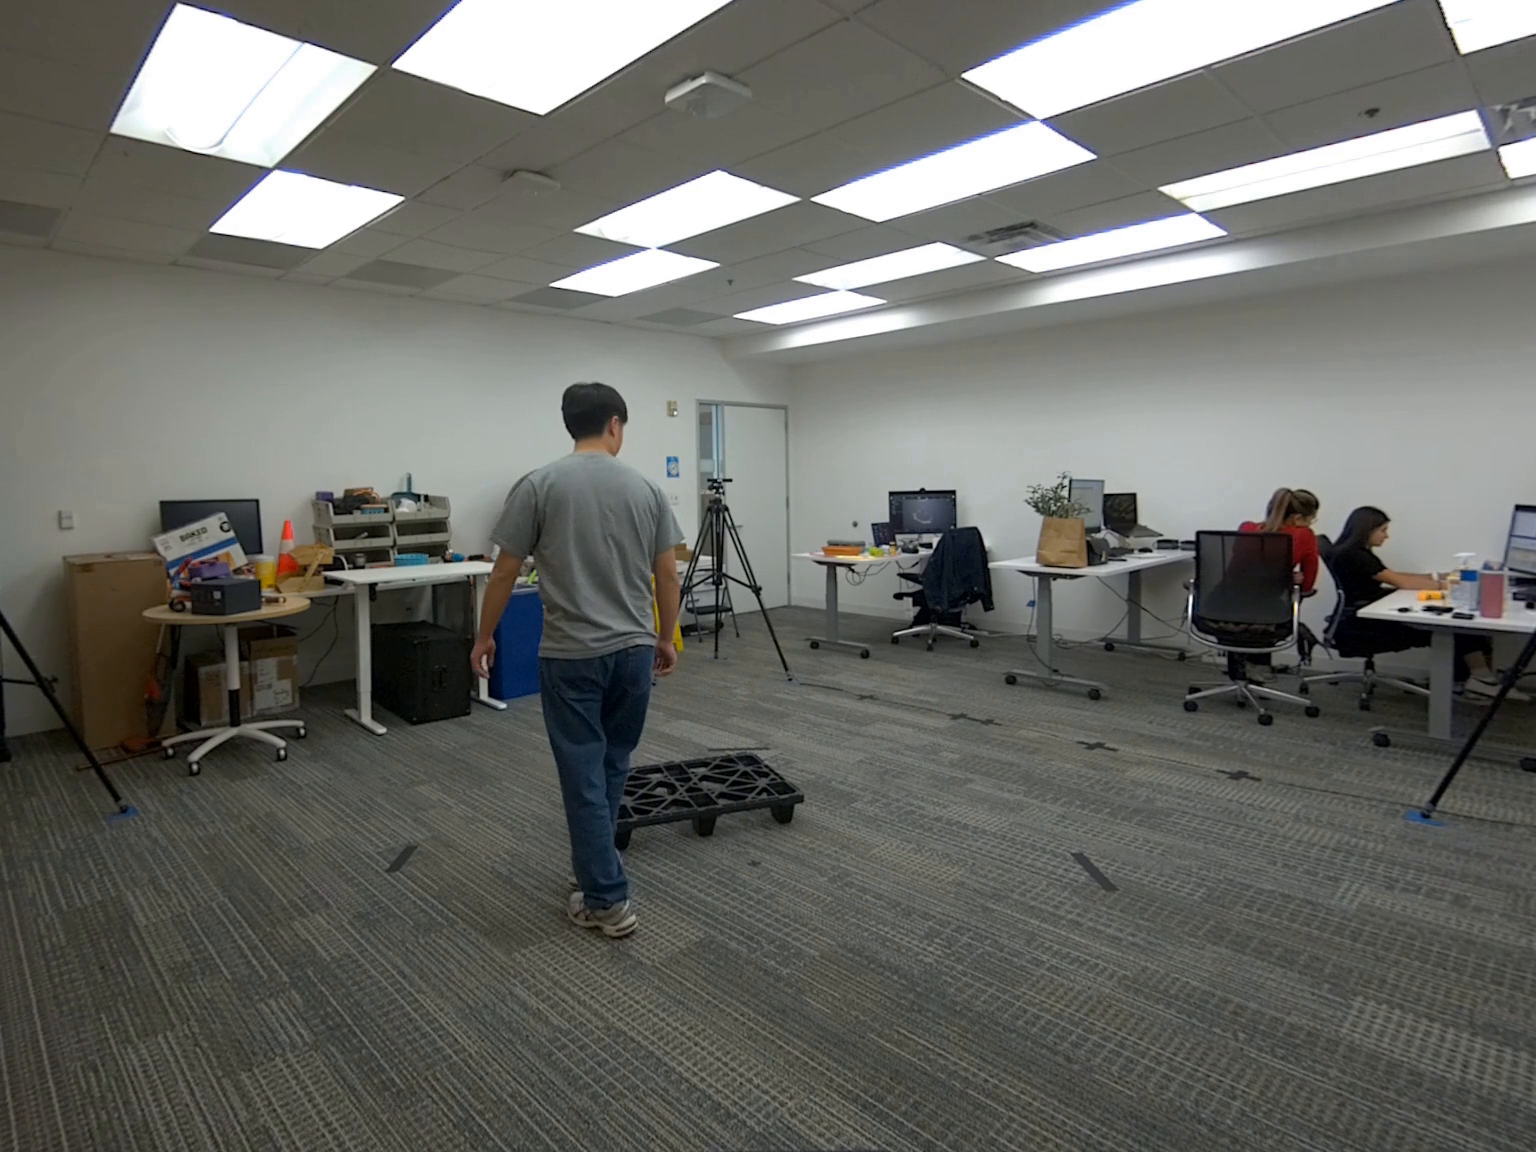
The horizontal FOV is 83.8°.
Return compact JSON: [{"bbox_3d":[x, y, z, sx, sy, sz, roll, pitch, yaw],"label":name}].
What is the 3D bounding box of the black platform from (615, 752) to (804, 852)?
[{"bbox_3d":[-0.321,0.932,3.566,0.792,0.142,0.618,-4,7,-20],"label":"black platform"}]
